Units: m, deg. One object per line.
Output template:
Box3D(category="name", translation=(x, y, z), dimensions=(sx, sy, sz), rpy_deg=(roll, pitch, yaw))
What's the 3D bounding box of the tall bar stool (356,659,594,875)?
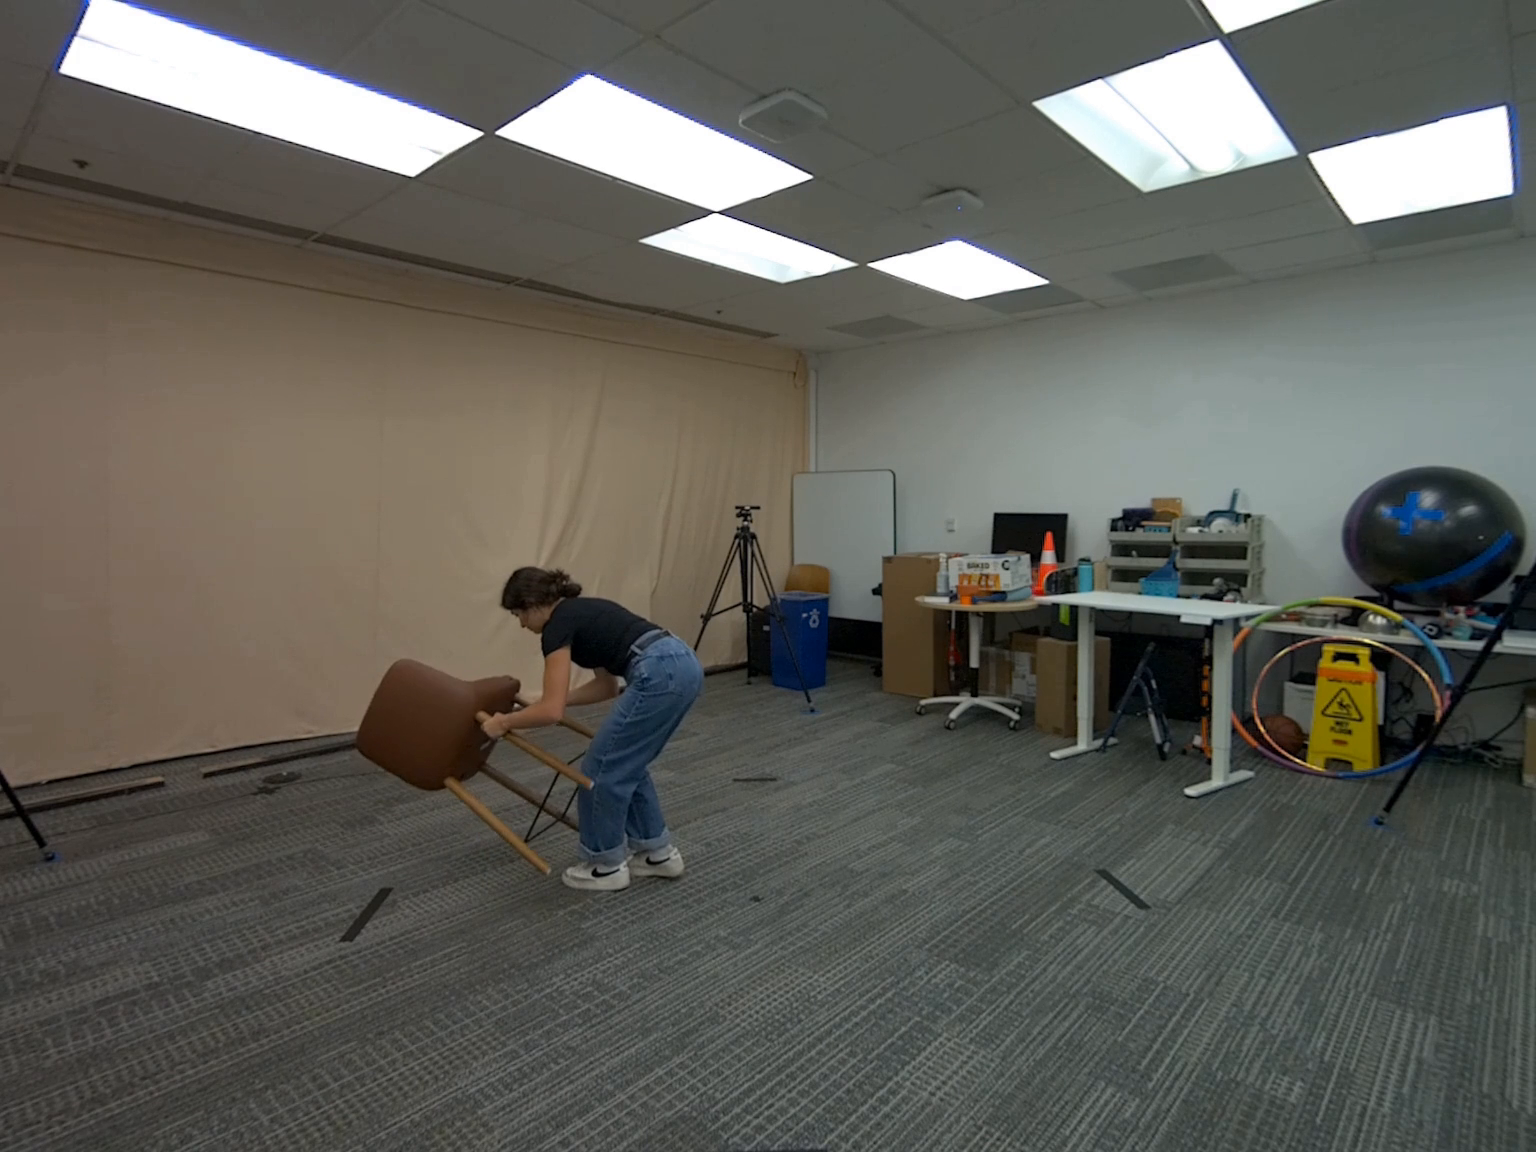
Box3D(category="tall bar stool", translation=(-1.031, 0.668, 3.194), dimensions=(0.901, 0.456, 0.462), rpy_deg=(28, 6, 10))
